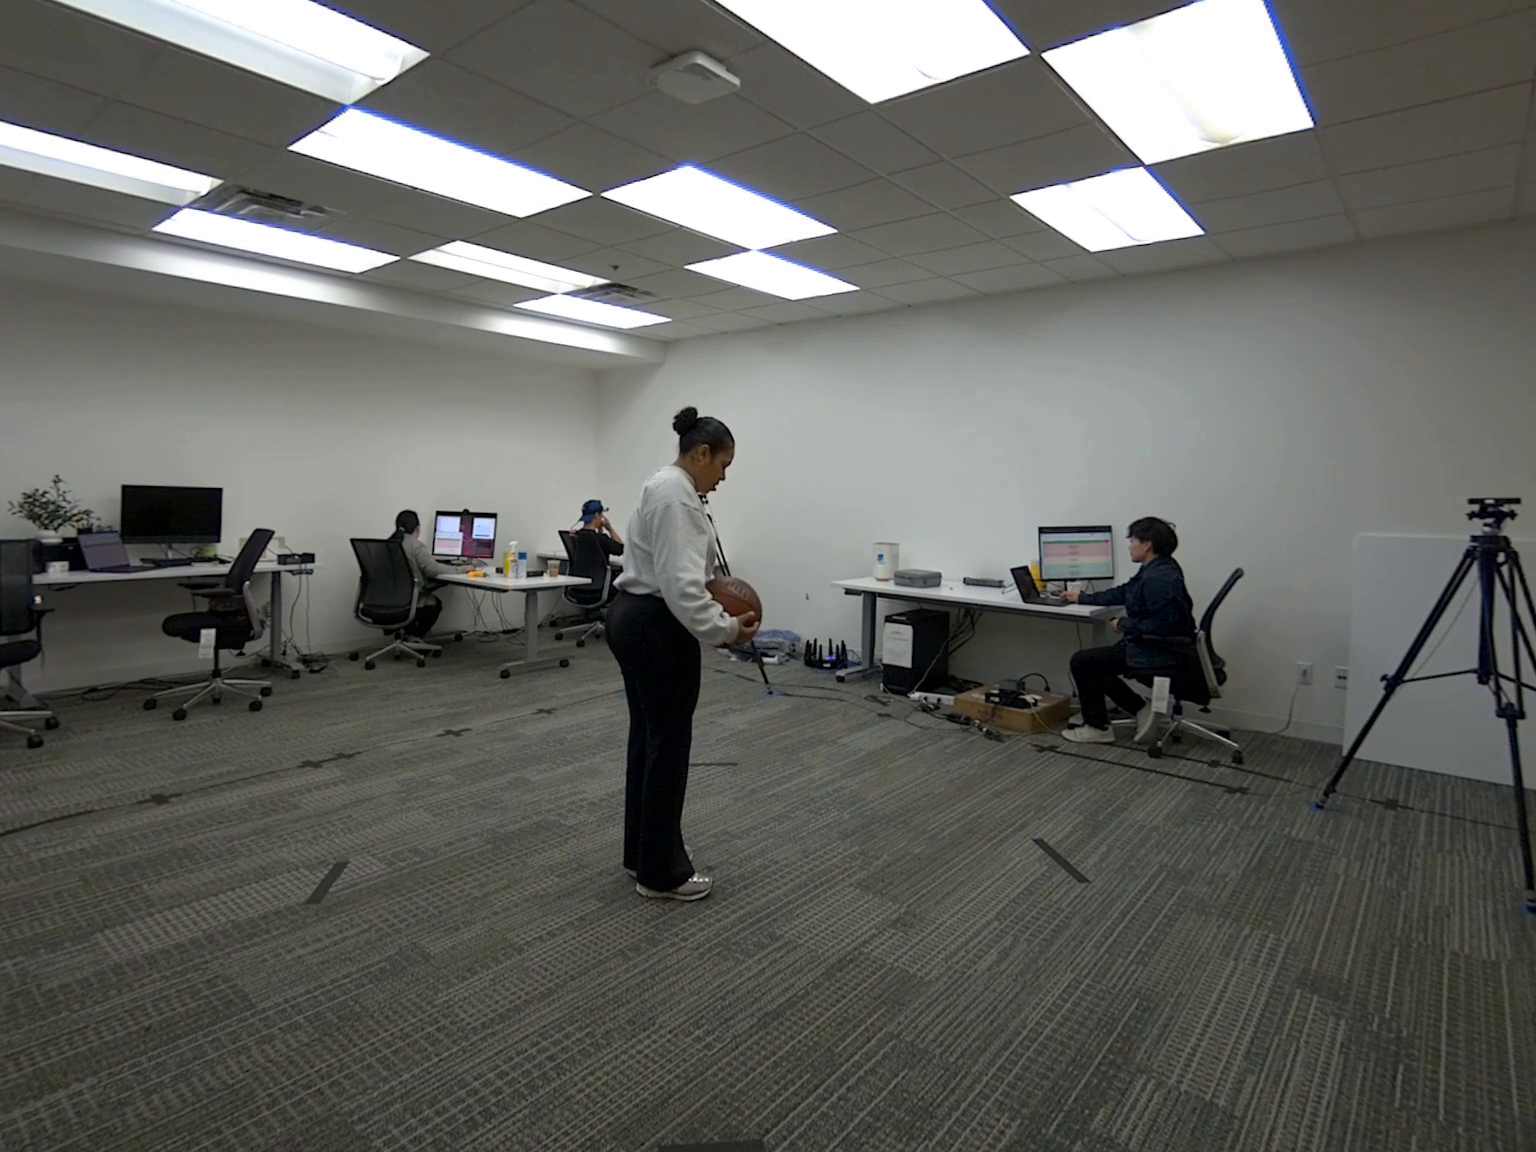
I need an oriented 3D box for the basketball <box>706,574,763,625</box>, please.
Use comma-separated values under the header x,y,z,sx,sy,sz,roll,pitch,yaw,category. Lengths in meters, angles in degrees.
x,y,z,sx,sy,sz,roll,pitch,yaw,category
-0.162,0.108,2.808,0.235,0.235,0.237,1,4,-2,basketball
